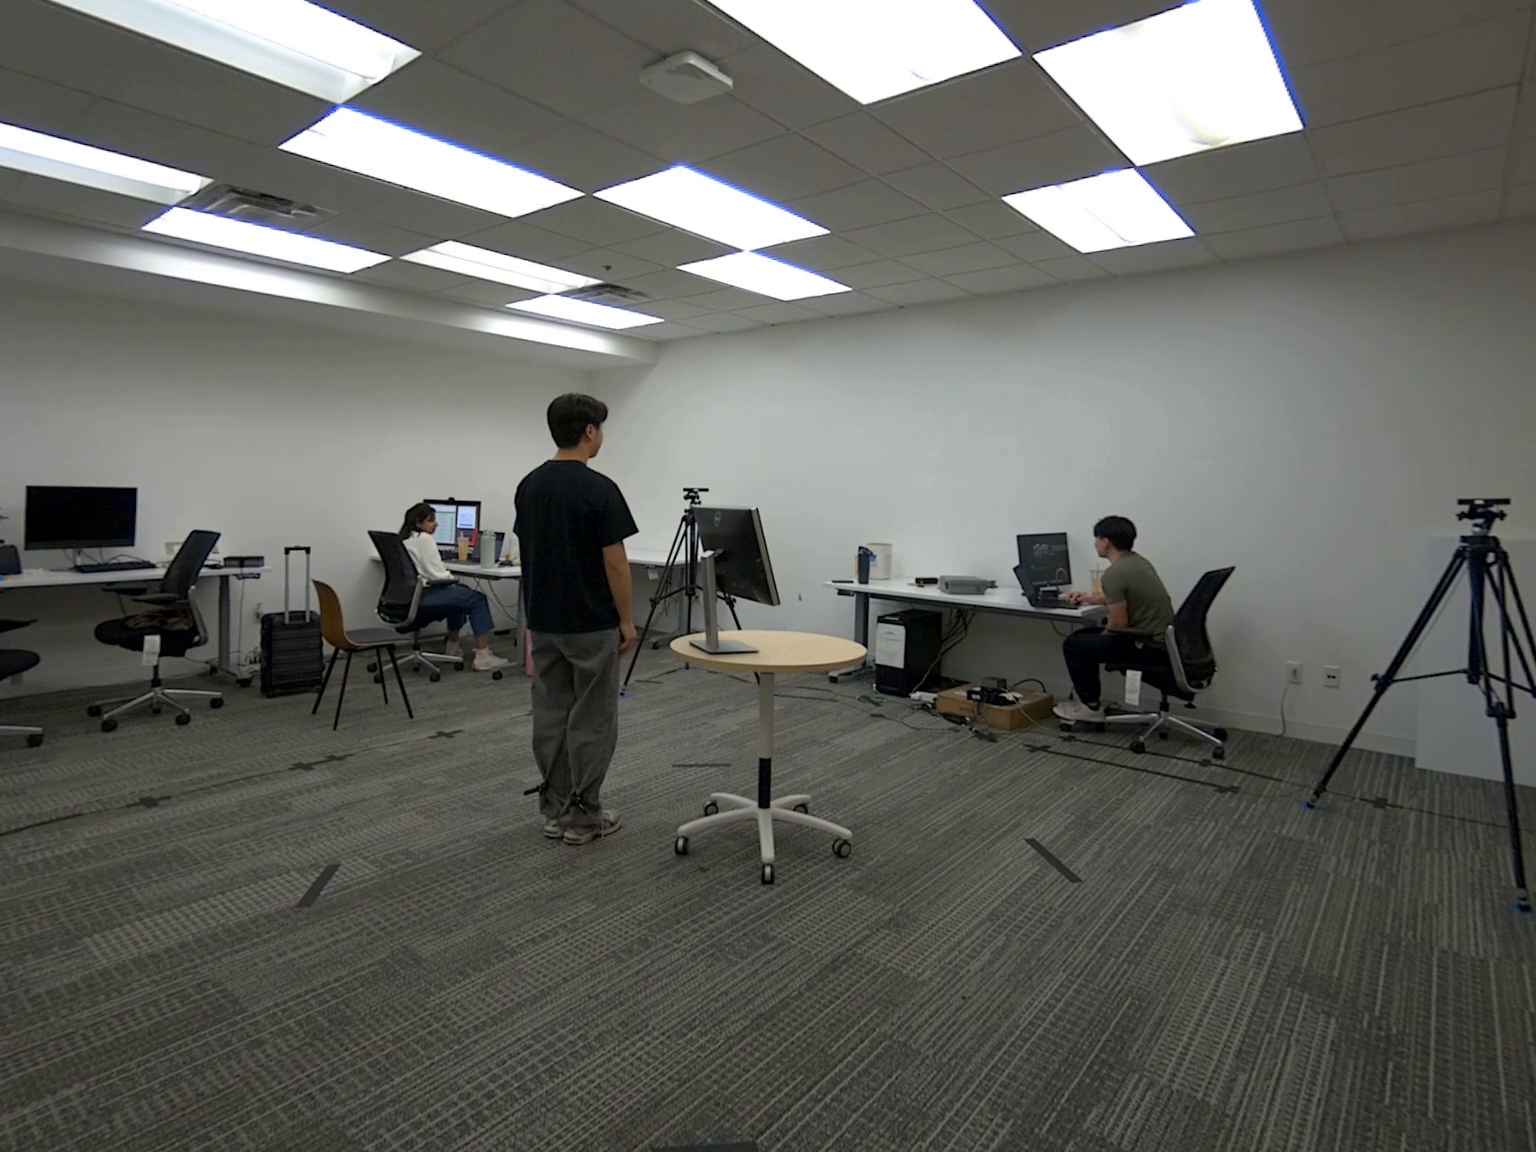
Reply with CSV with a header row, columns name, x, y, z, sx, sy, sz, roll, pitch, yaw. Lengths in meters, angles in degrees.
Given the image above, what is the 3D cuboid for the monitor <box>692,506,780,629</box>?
name,x,y,z,sx,sy,sz,roll,pitch,yaw
monitor,-0.173,0.015,3.242,0.217,0.564,0.577,0,4,-25
